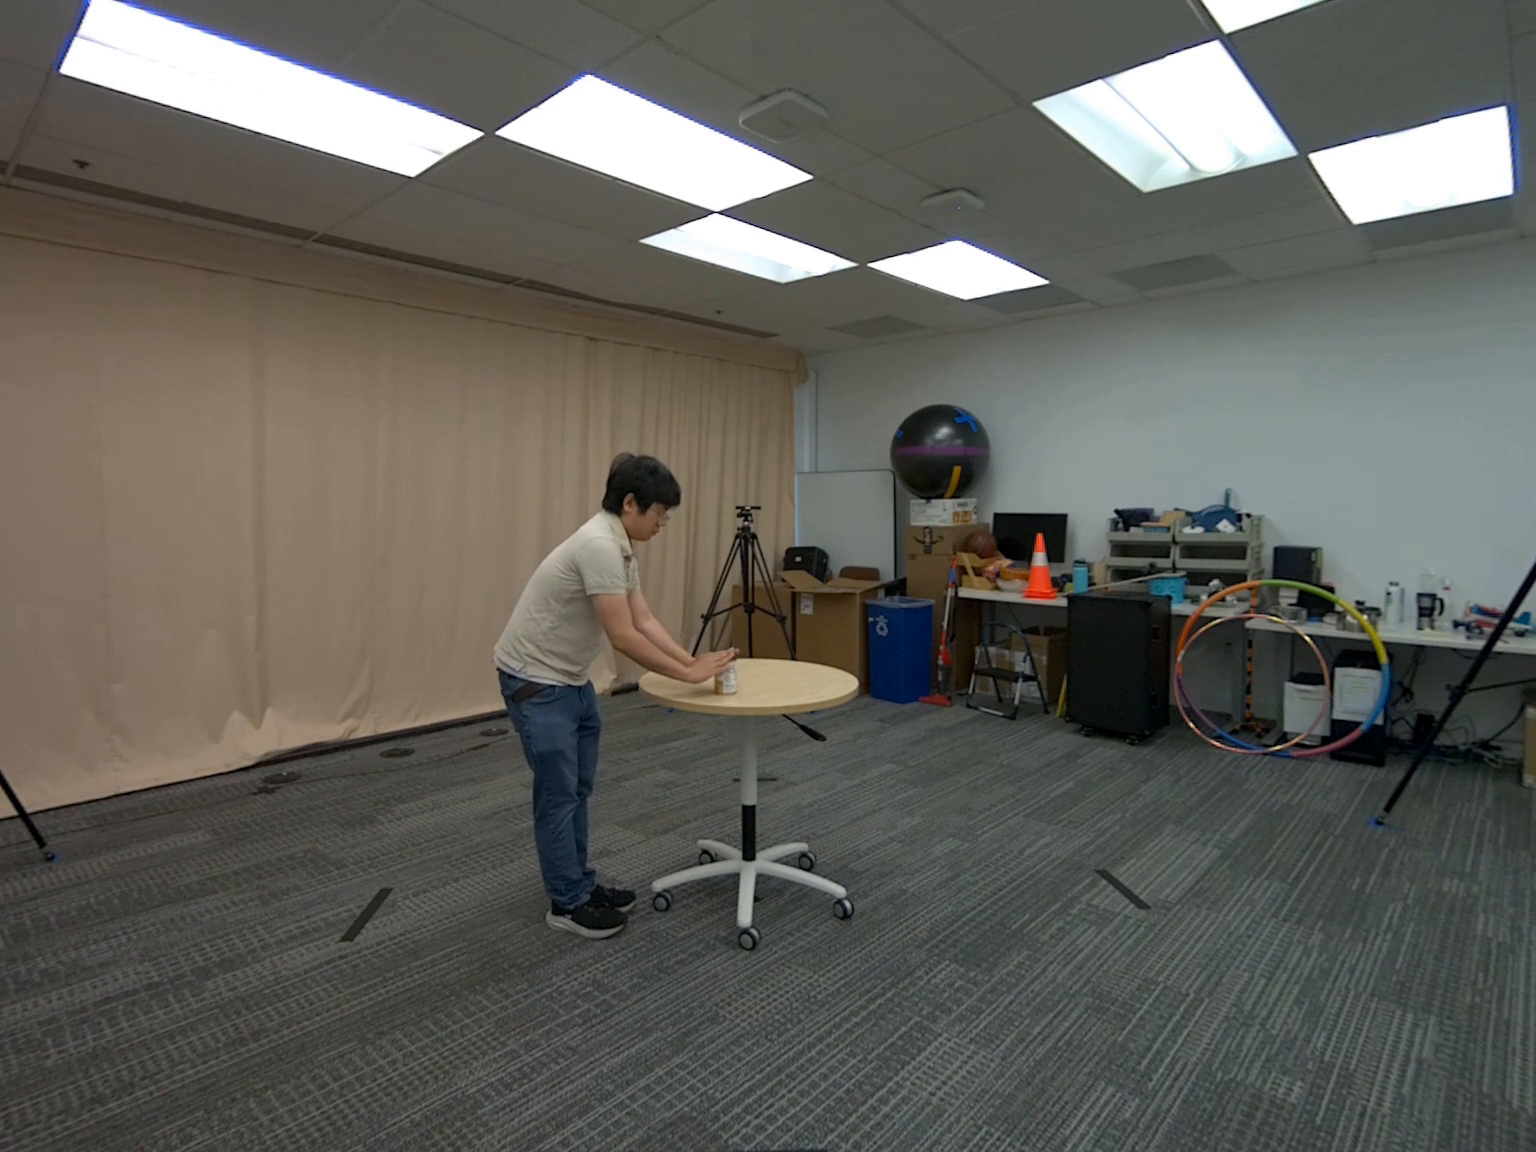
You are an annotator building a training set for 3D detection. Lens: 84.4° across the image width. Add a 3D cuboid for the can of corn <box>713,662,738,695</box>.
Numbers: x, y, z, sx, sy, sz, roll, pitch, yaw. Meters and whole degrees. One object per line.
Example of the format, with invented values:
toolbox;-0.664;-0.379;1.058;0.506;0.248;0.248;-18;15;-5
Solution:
can of corn;-0.141;0.332;2.738;0.074;0.111;0.074;-4;2;-2
